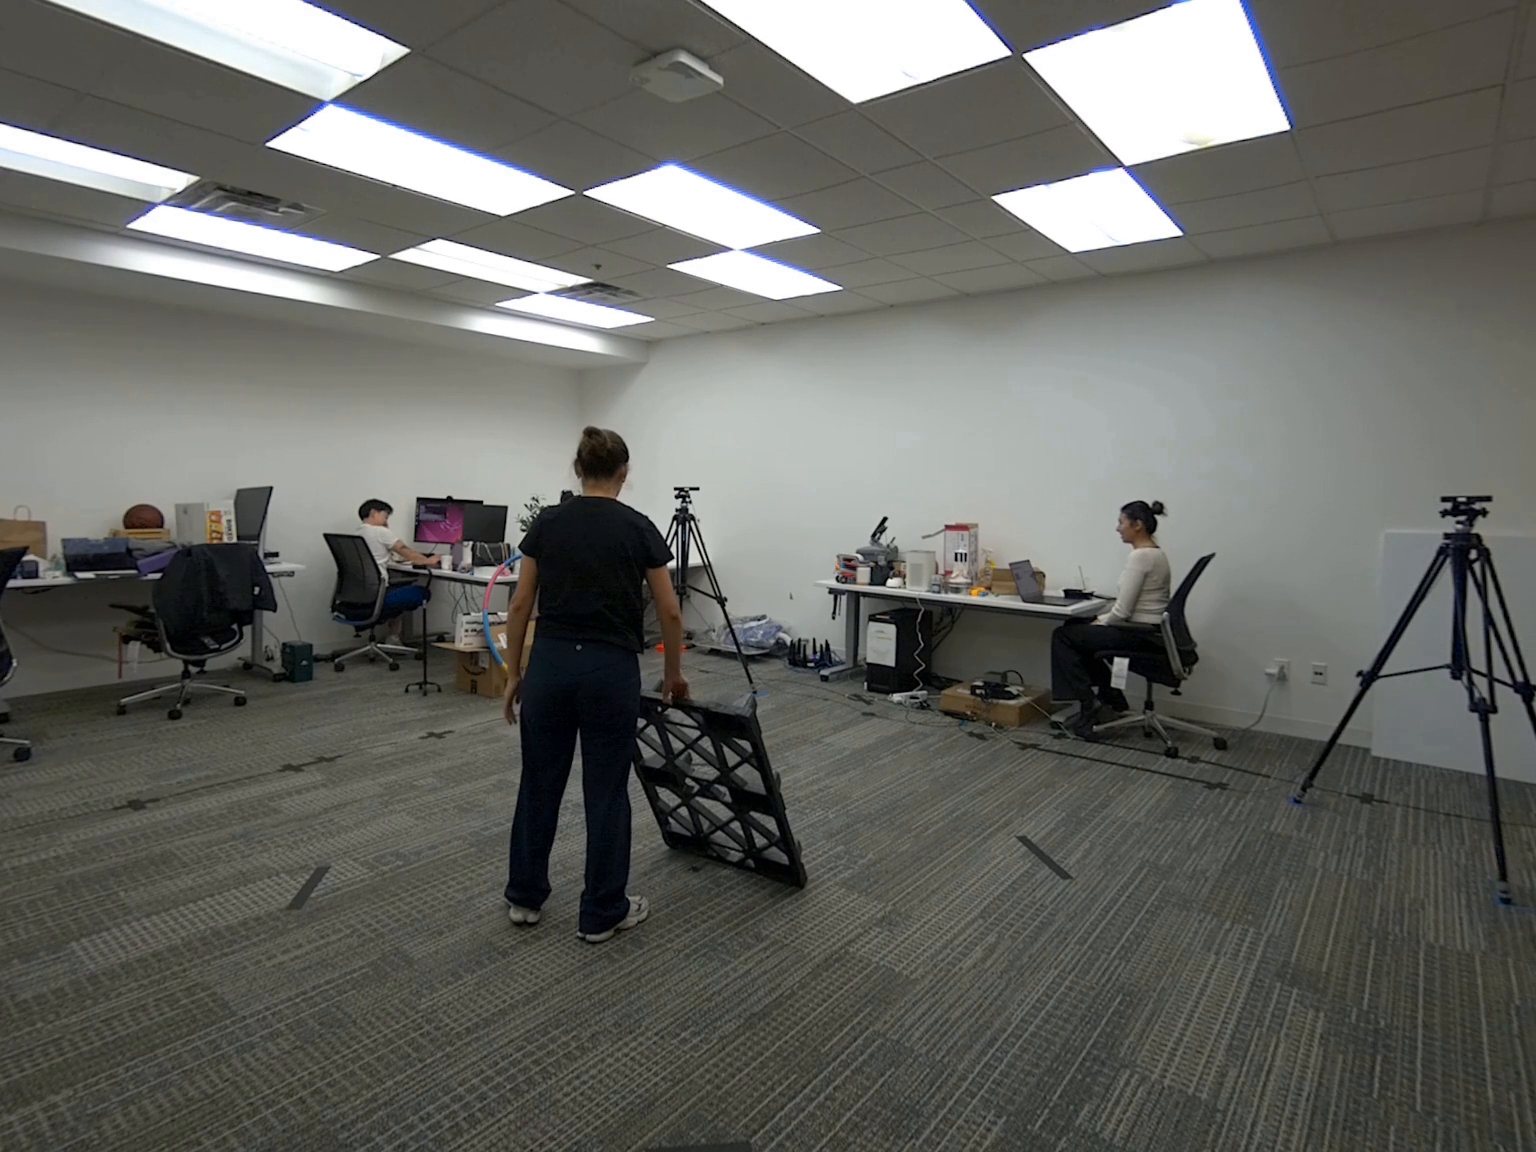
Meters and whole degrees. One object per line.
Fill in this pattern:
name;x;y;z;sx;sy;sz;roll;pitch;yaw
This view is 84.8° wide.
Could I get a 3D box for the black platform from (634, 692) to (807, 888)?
black platform;-0.187;0.701;2.994;0.624;0.782;0.143;4;34;33
